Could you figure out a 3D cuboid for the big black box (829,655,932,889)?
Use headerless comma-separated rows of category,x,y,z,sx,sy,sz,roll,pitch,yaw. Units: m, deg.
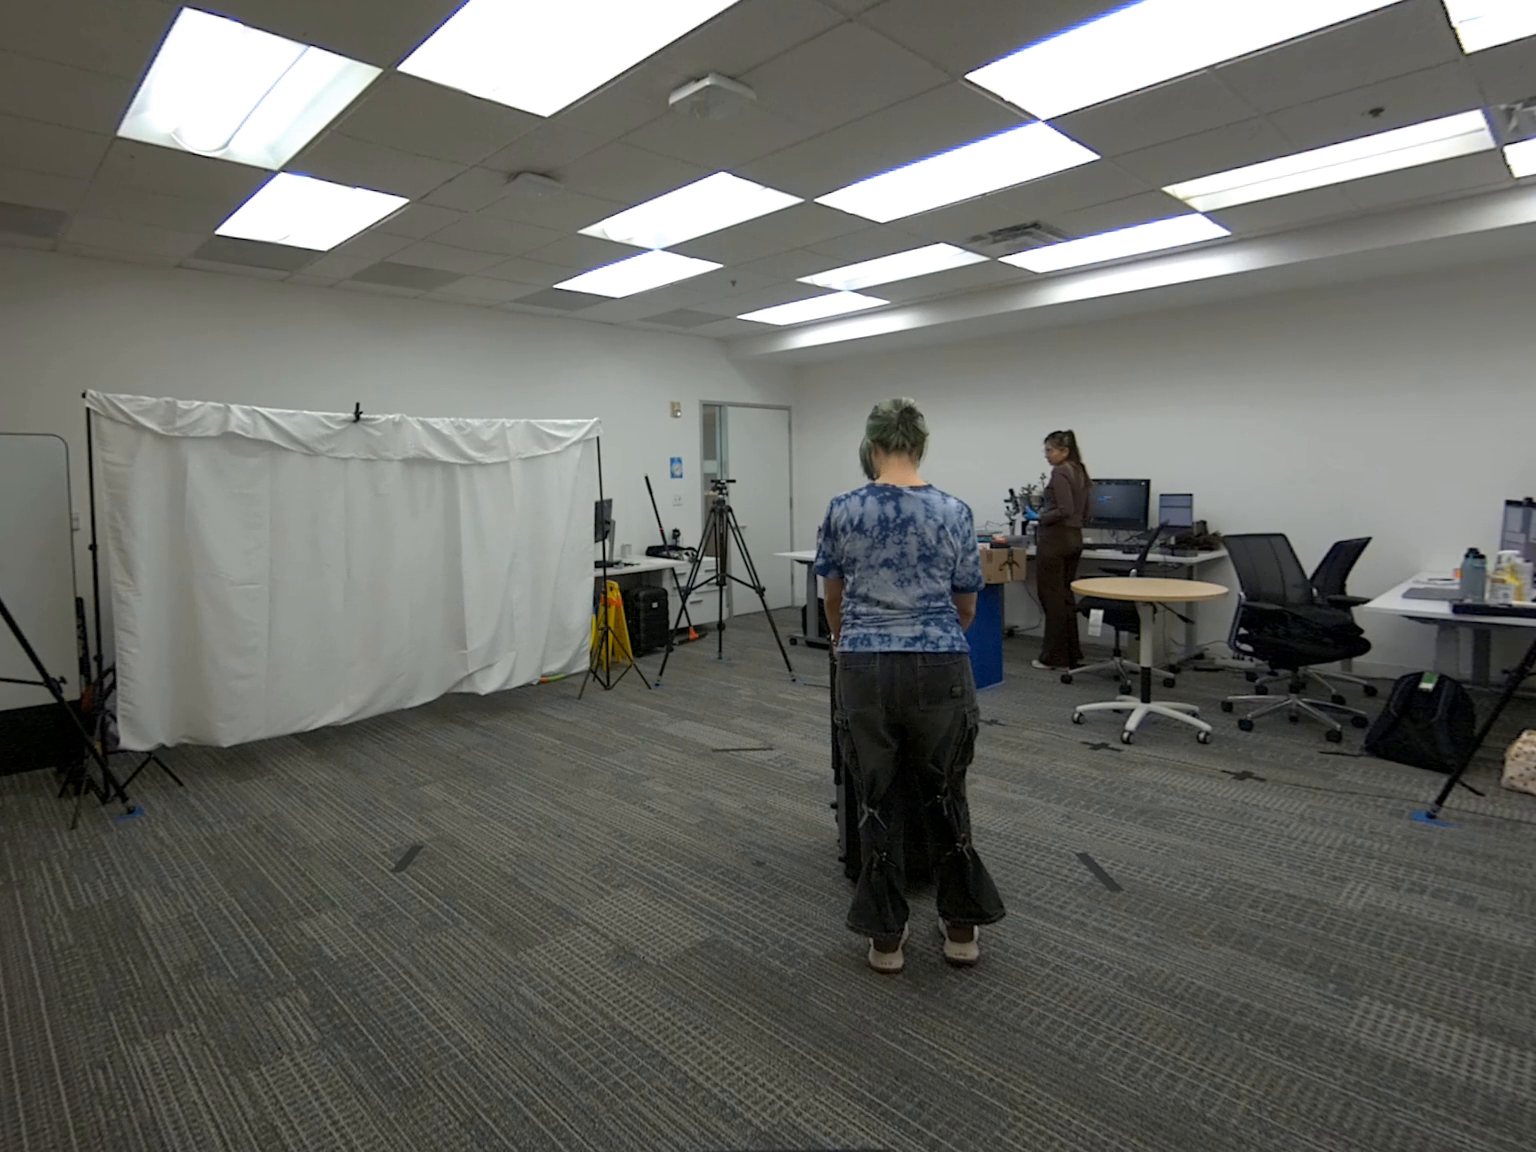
big black box,0.430,0.634,3.033,0.398,0.858,0.522,-1,4,2
